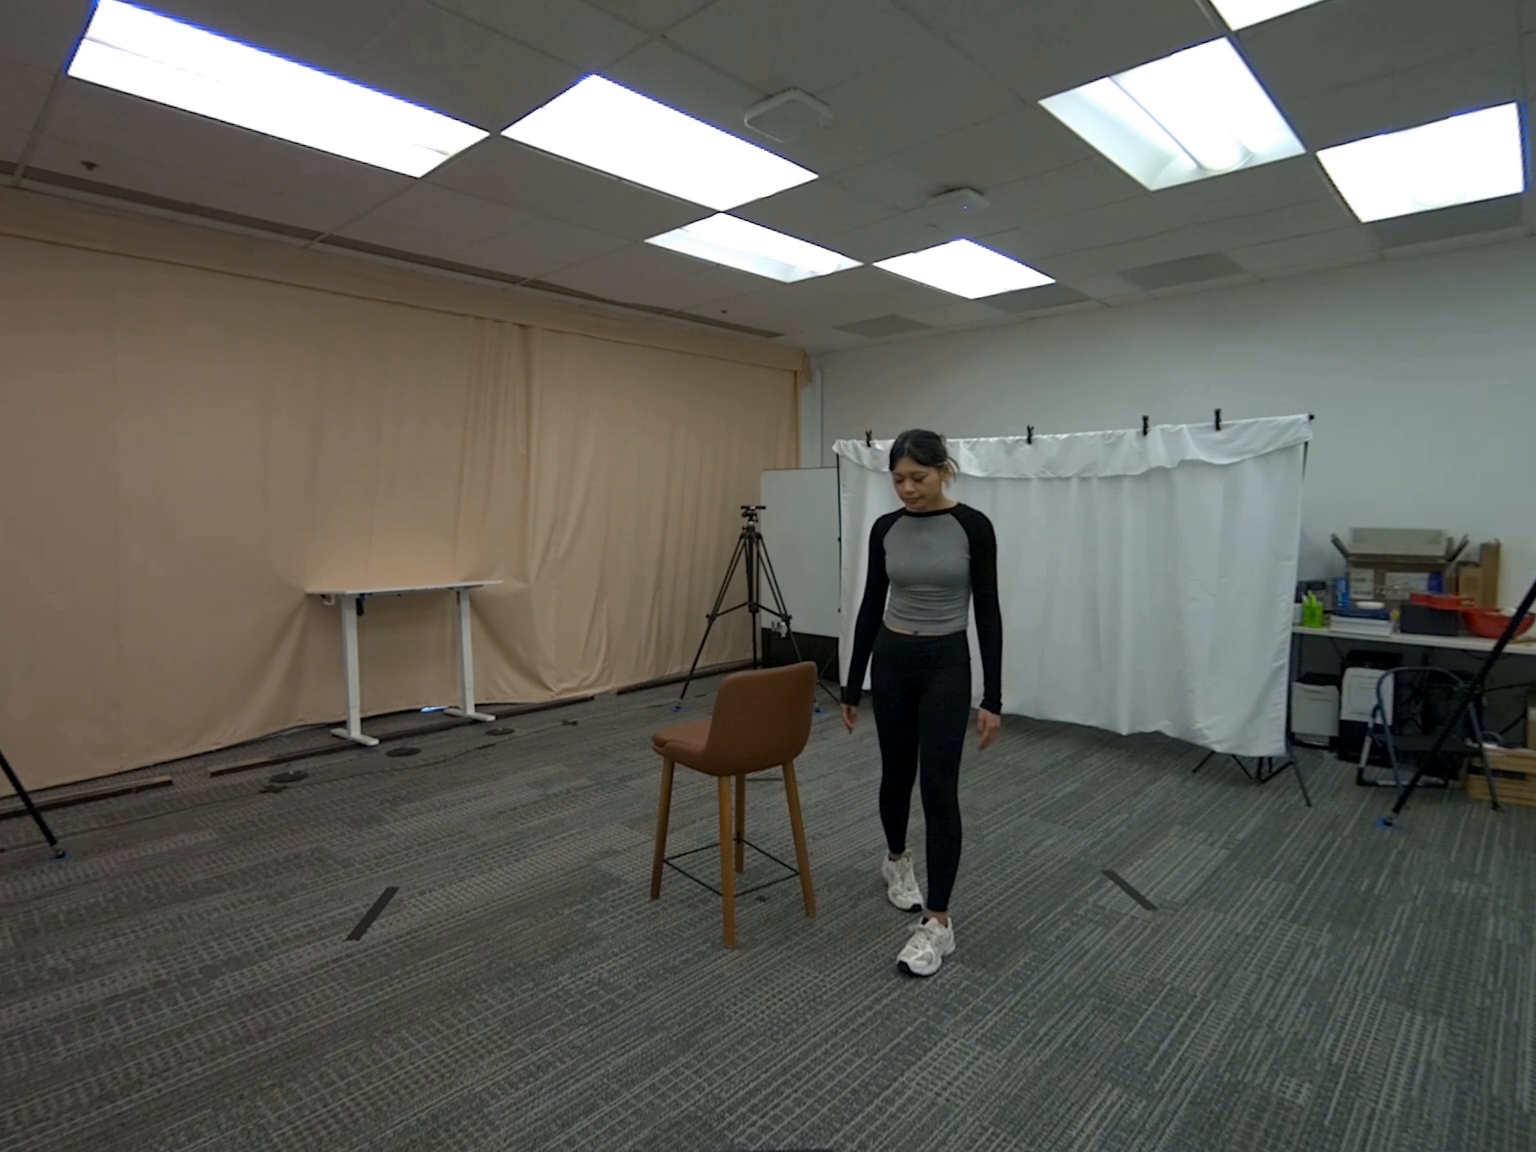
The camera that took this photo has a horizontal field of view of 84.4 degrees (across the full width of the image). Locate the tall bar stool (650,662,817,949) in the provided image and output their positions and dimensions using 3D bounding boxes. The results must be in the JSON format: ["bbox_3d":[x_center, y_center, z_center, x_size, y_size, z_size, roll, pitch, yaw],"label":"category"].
[{"bbox_3d":[-0.115,0.712,2.900,0.443,0.887,0.483,-3,7,-38],"label":"tall bar stool"}]
